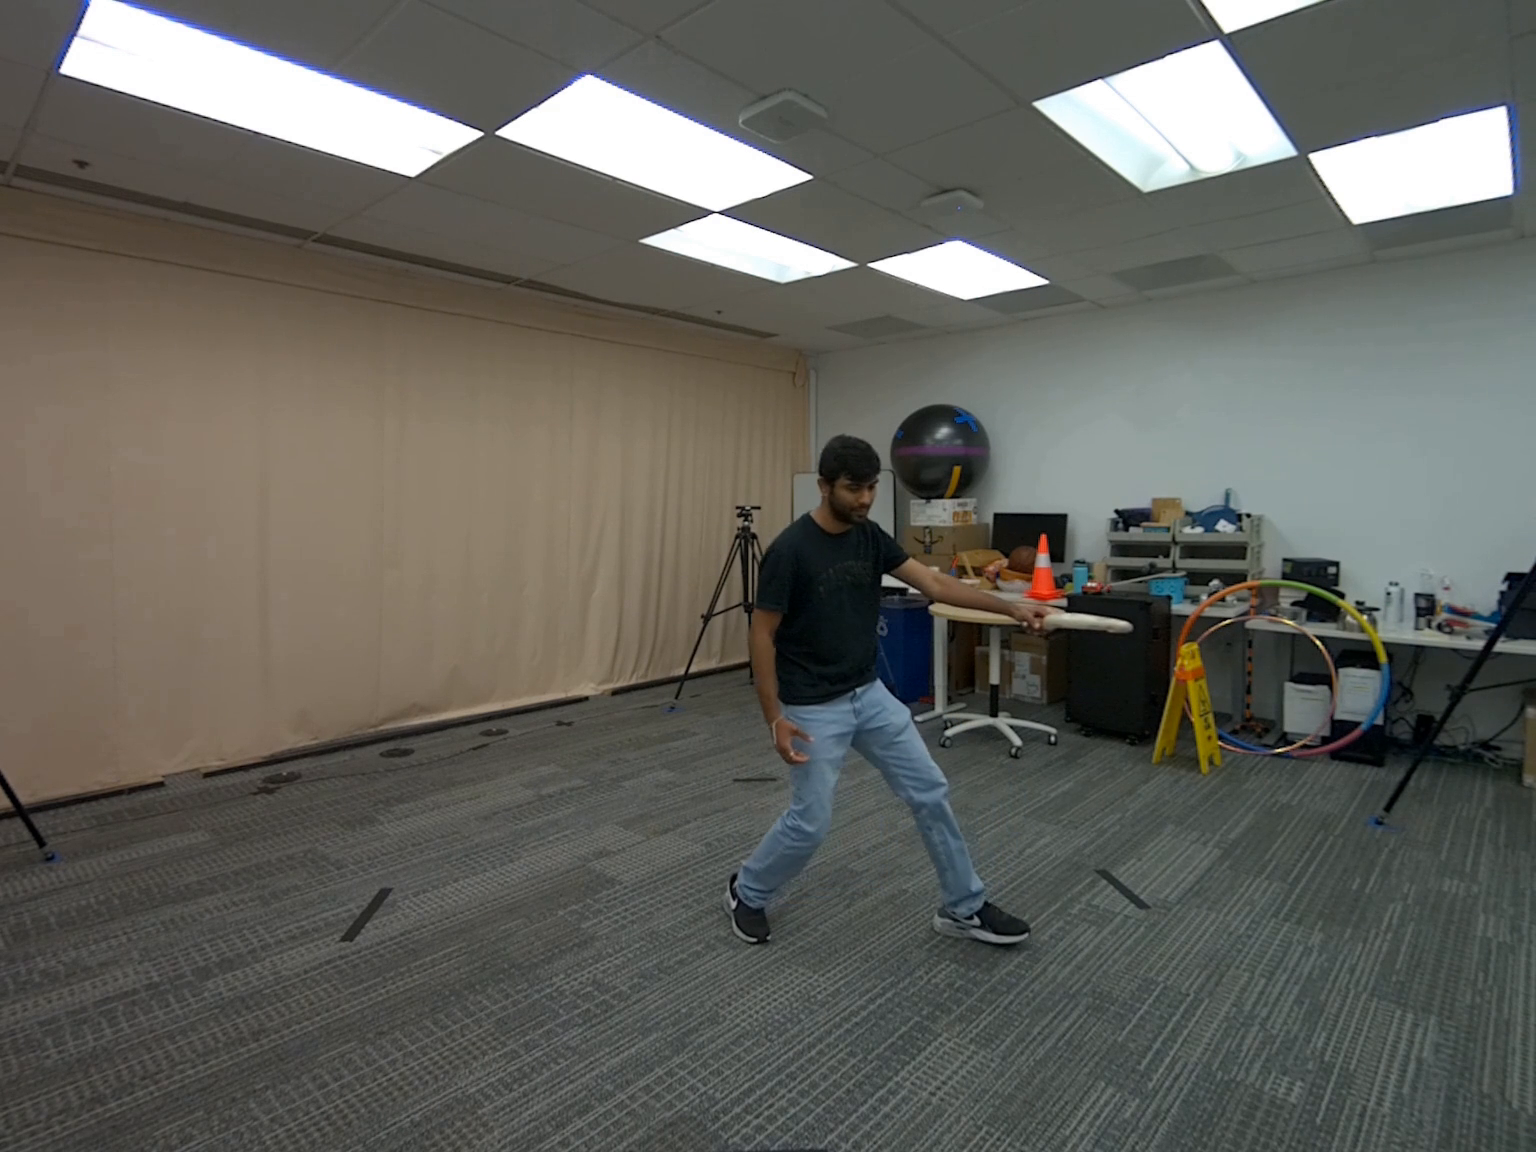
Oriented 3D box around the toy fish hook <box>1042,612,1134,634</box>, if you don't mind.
[{"bbox_3d":[0.880,0.147,2.424,0.223,0.048,0.509,13,-4,-7],"label":"toy fish hook"}]
